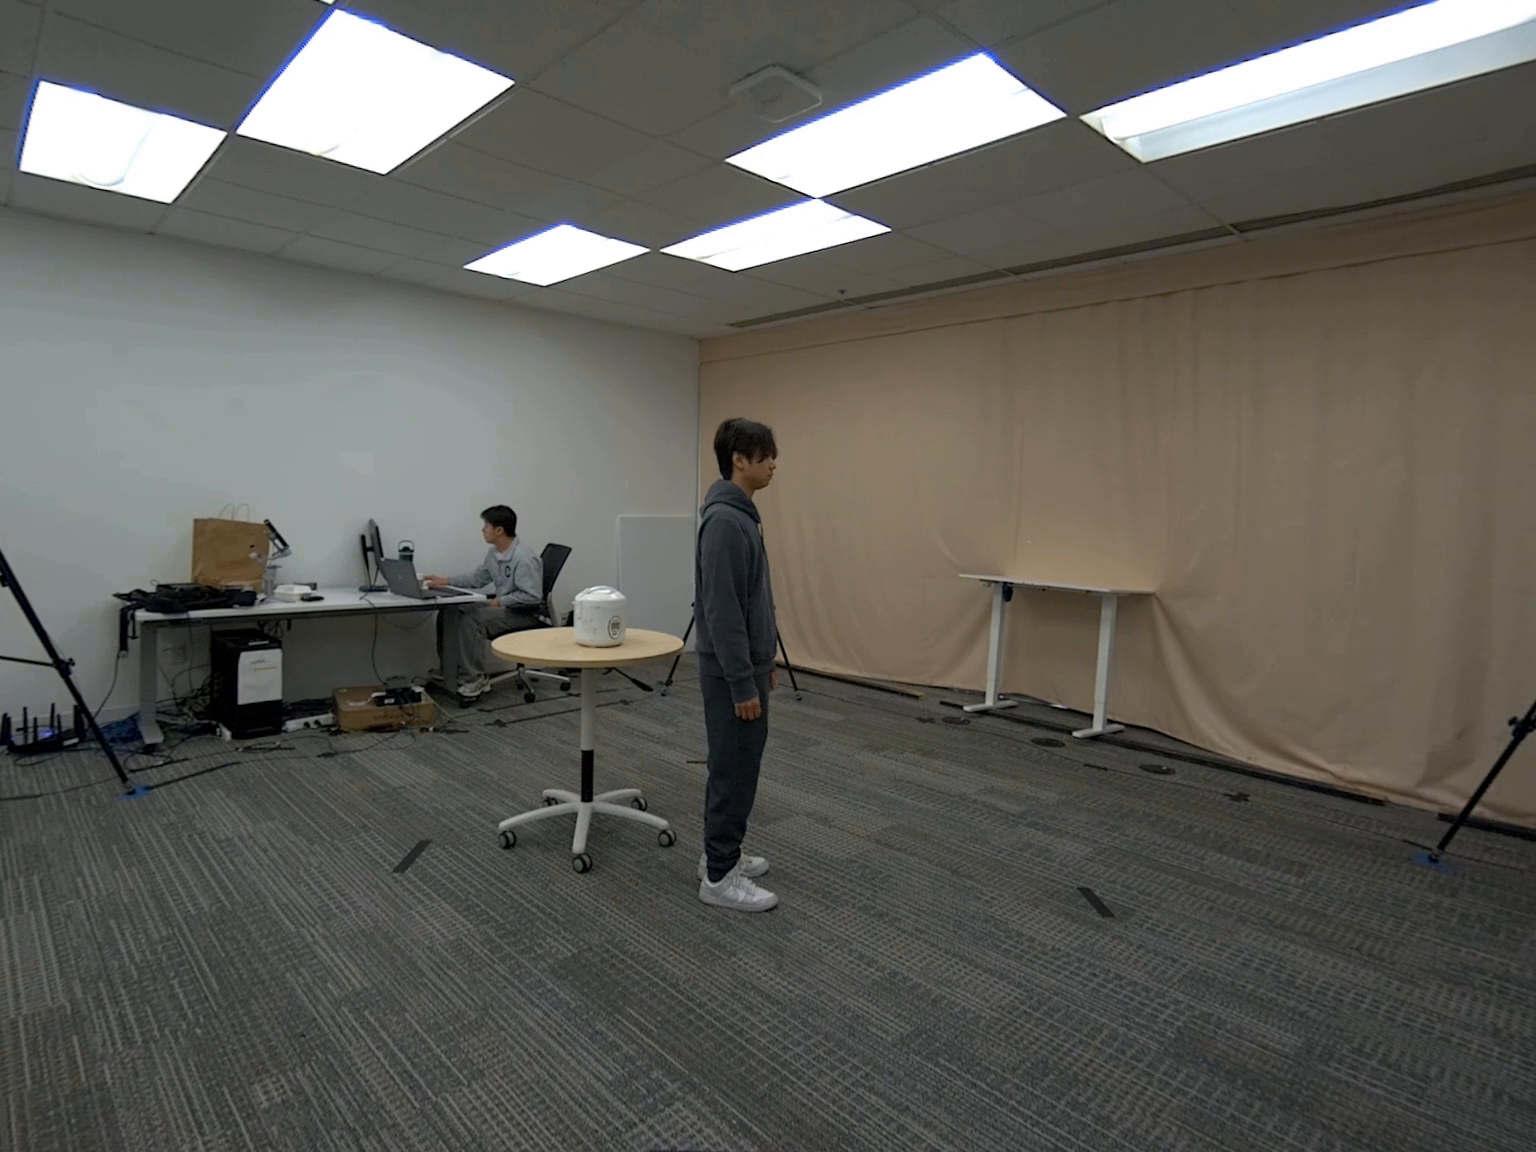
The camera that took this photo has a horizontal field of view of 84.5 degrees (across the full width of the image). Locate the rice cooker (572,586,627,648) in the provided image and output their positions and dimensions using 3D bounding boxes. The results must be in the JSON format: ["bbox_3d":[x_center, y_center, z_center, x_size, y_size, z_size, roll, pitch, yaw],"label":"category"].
[{"bbox_3d":[-0.670,0.156,3.370,0.215,0.232,0.223,-2,5,-44],"label":"rice cooker"}]
